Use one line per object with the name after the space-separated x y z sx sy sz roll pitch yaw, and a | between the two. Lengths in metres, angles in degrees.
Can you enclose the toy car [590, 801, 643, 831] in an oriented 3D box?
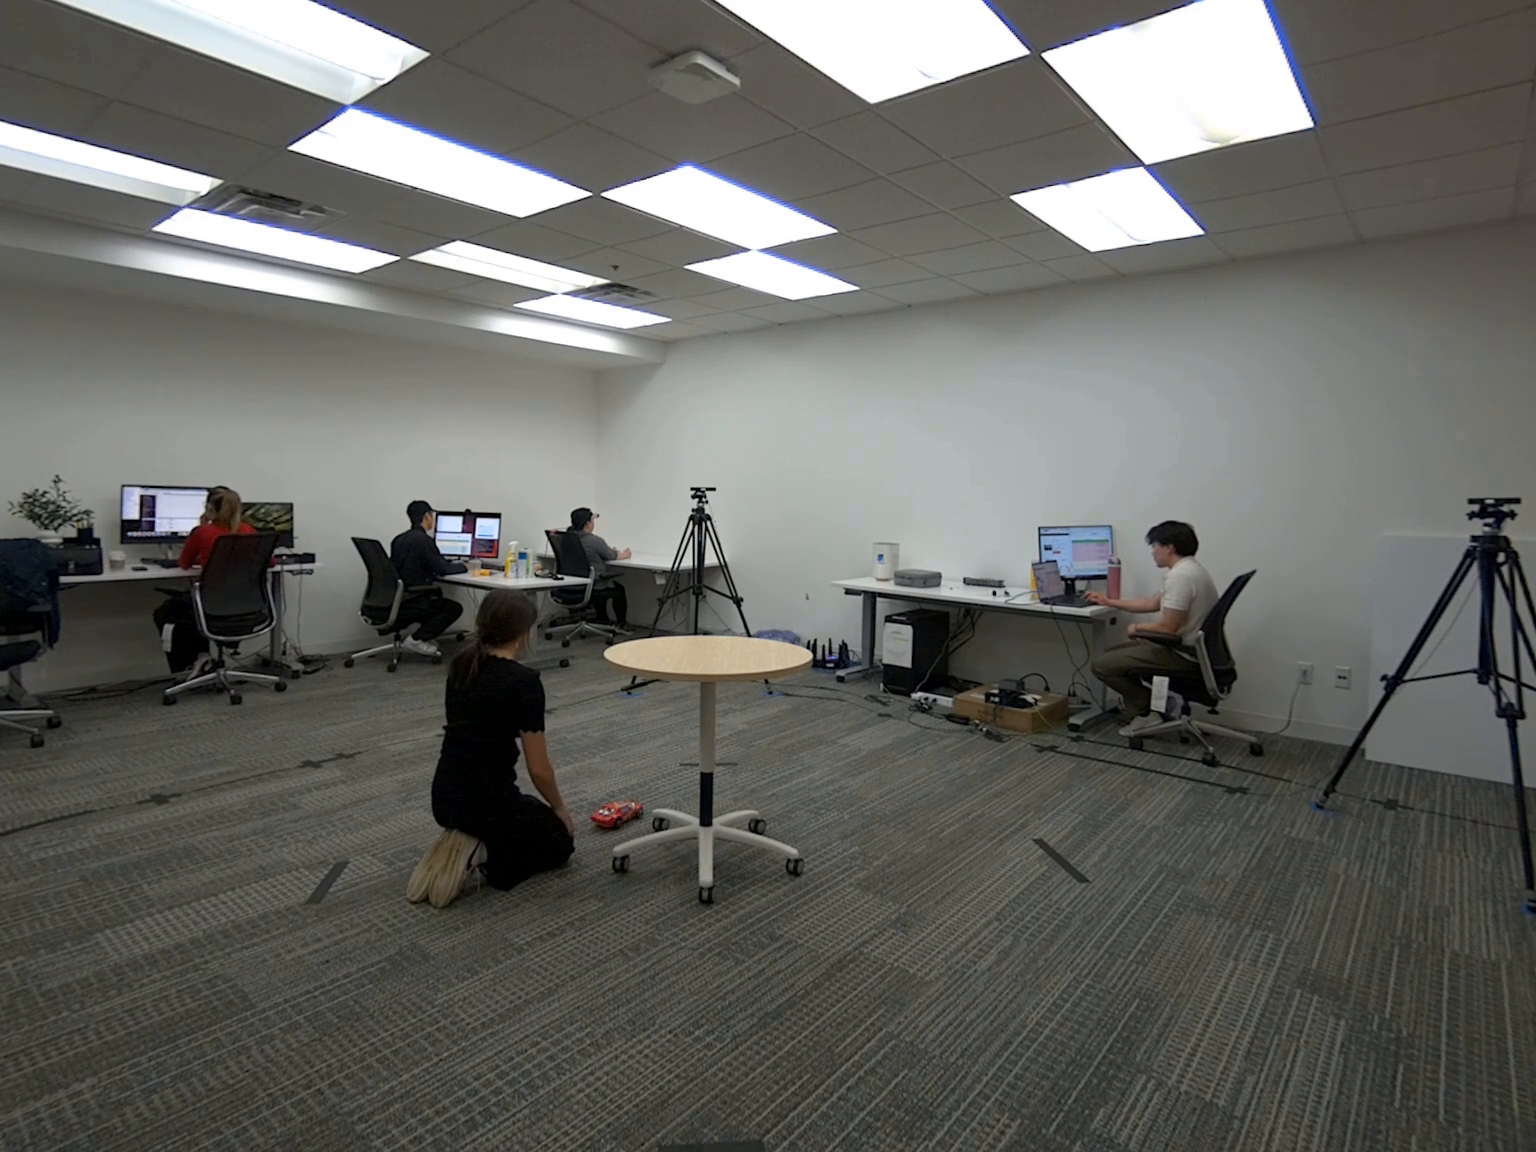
-0.647 0.988 3.523 0.134 0.083 0.246 5 -5 32 | toy car
